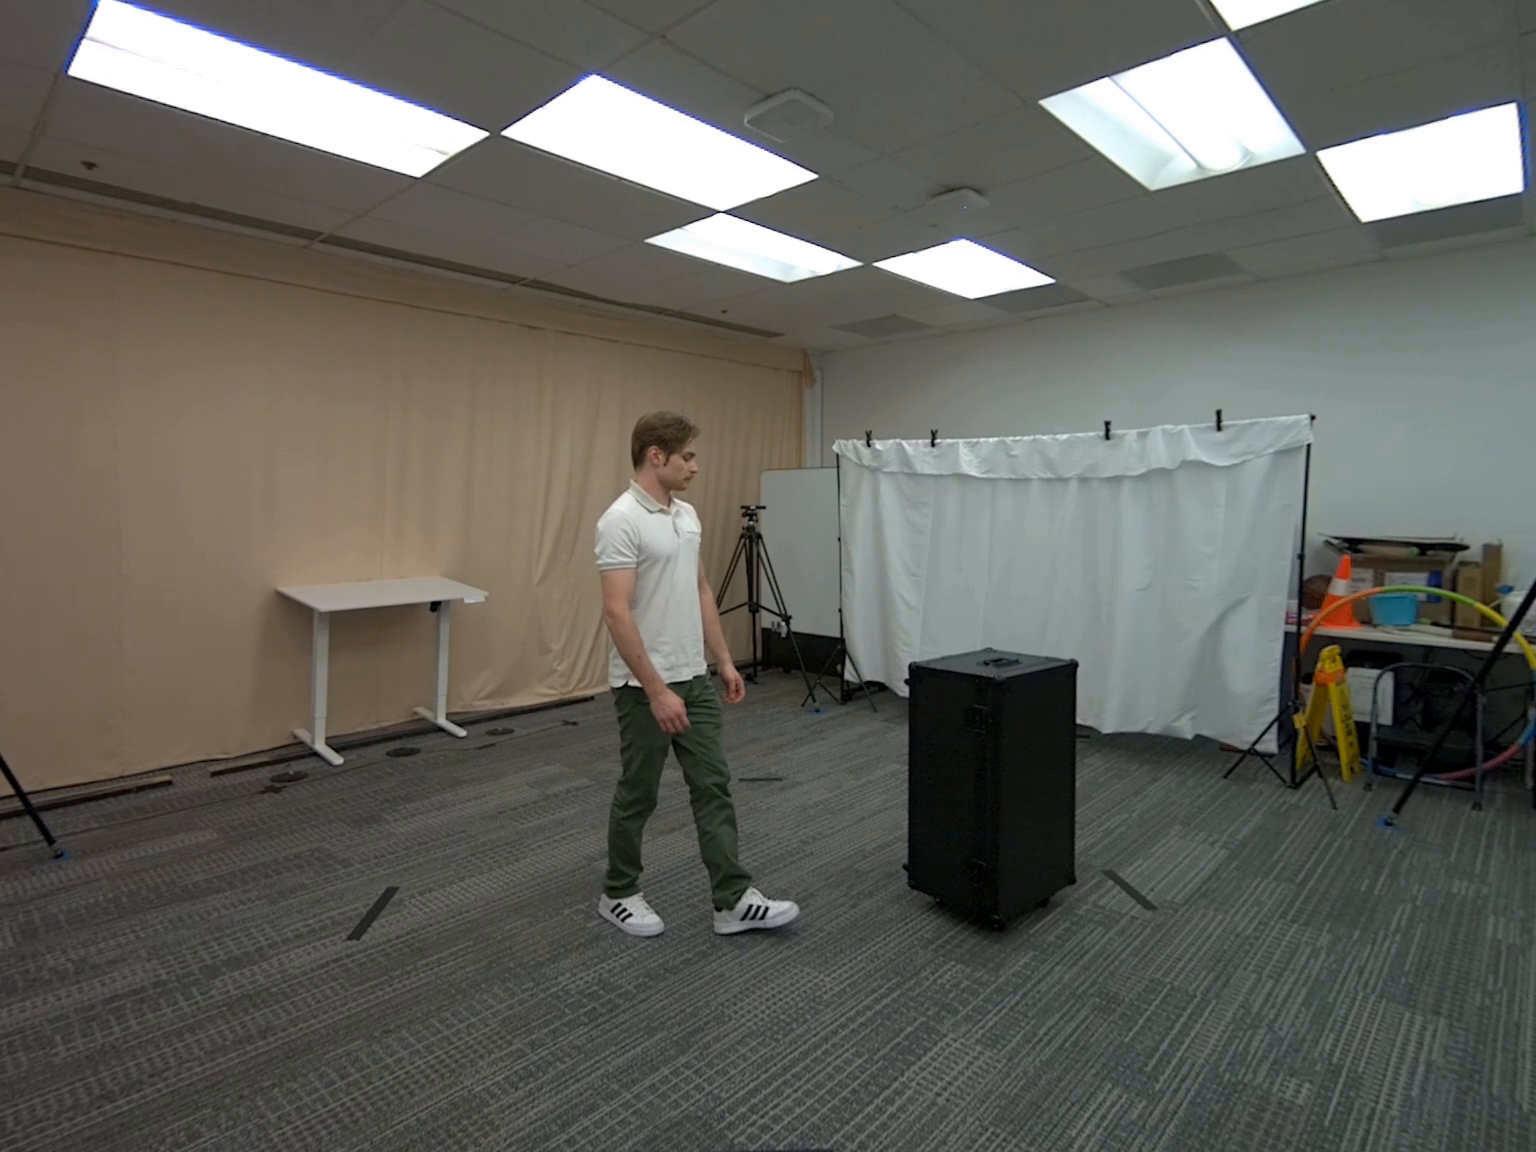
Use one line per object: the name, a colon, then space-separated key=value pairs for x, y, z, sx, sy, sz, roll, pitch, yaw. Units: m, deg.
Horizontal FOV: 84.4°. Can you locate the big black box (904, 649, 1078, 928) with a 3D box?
big black box: x=0.777 y=0.729 z=2.914 sx=0.507 sy=0.867 sz=0.398 roll=-4 pitch=4 yaw=-42
